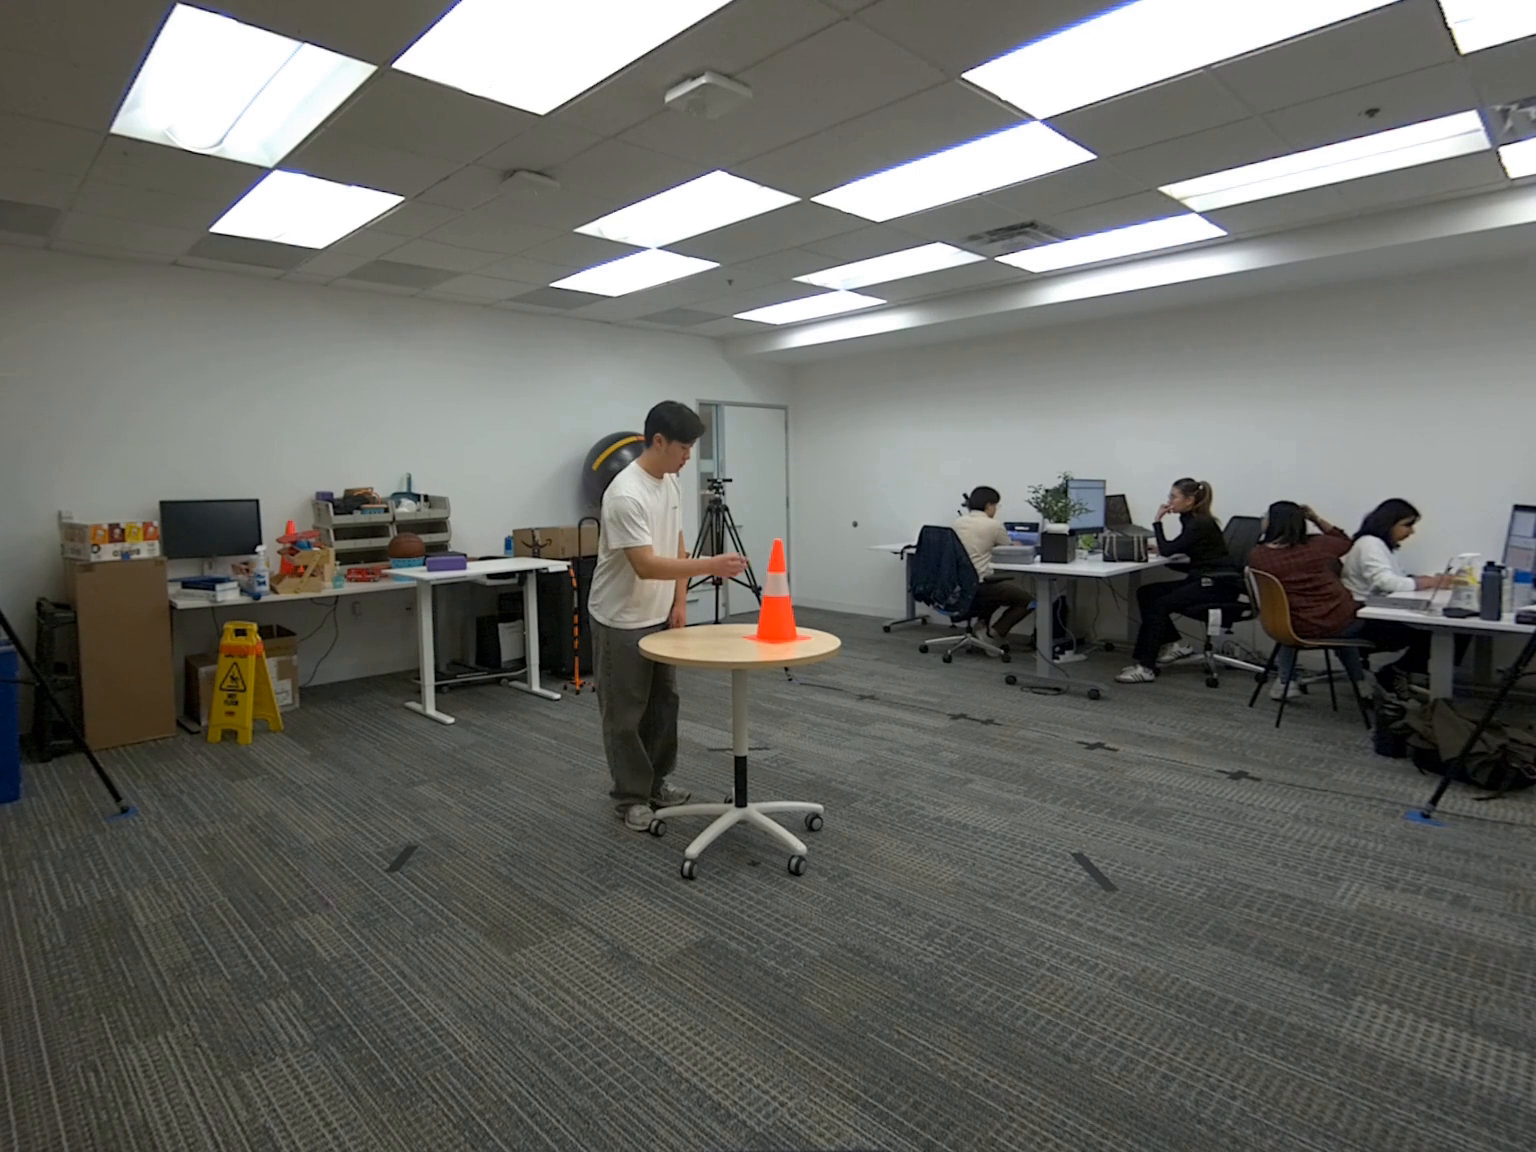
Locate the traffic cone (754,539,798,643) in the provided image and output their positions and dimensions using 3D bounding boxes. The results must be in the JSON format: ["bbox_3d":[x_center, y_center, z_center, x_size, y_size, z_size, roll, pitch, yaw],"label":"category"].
[{"bbox_3d":[0.029,0.055,3.302,0.209,0.383,0.199,2,4,42],"label":"traffic cone"}]
